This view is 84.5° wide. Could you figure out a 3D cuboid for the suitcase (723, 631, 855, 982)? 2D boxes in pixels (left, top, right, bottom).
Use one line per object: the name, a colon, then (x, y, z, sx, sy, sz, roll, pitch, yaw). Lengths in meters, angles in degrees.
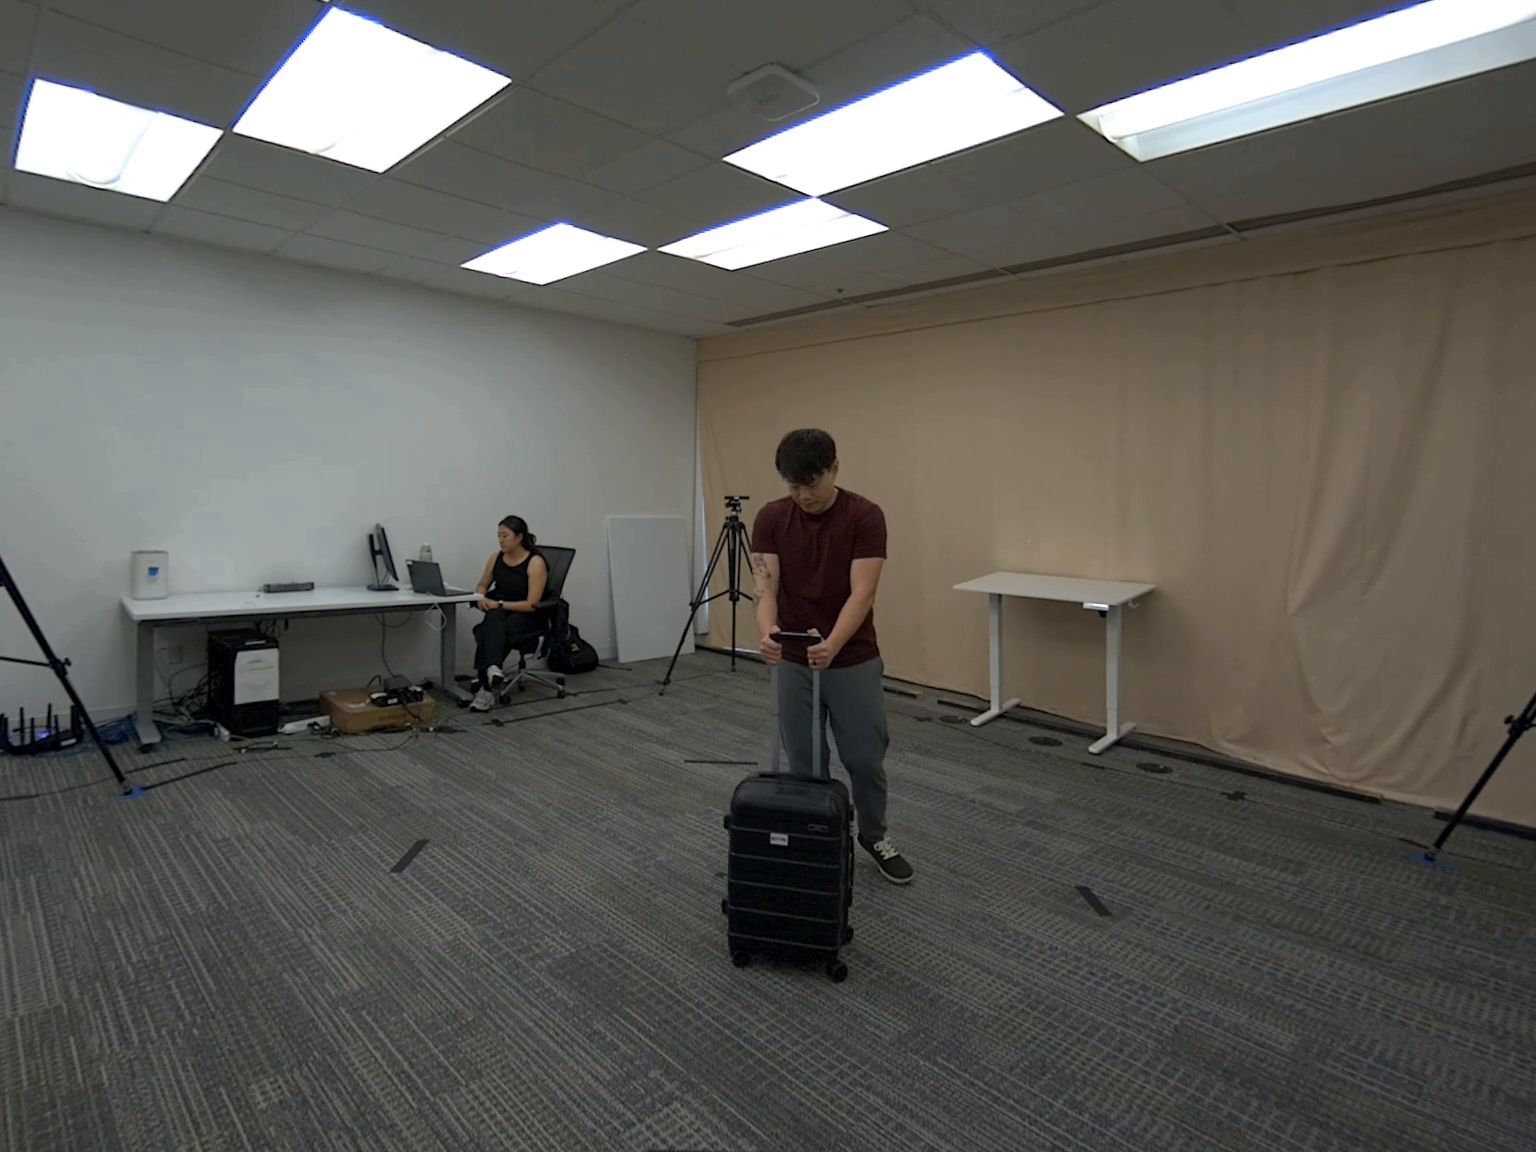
suitcase: (0.063, 0.690, 2.532, 0.388, 0.974, 0.255, 2, 7, 13)
